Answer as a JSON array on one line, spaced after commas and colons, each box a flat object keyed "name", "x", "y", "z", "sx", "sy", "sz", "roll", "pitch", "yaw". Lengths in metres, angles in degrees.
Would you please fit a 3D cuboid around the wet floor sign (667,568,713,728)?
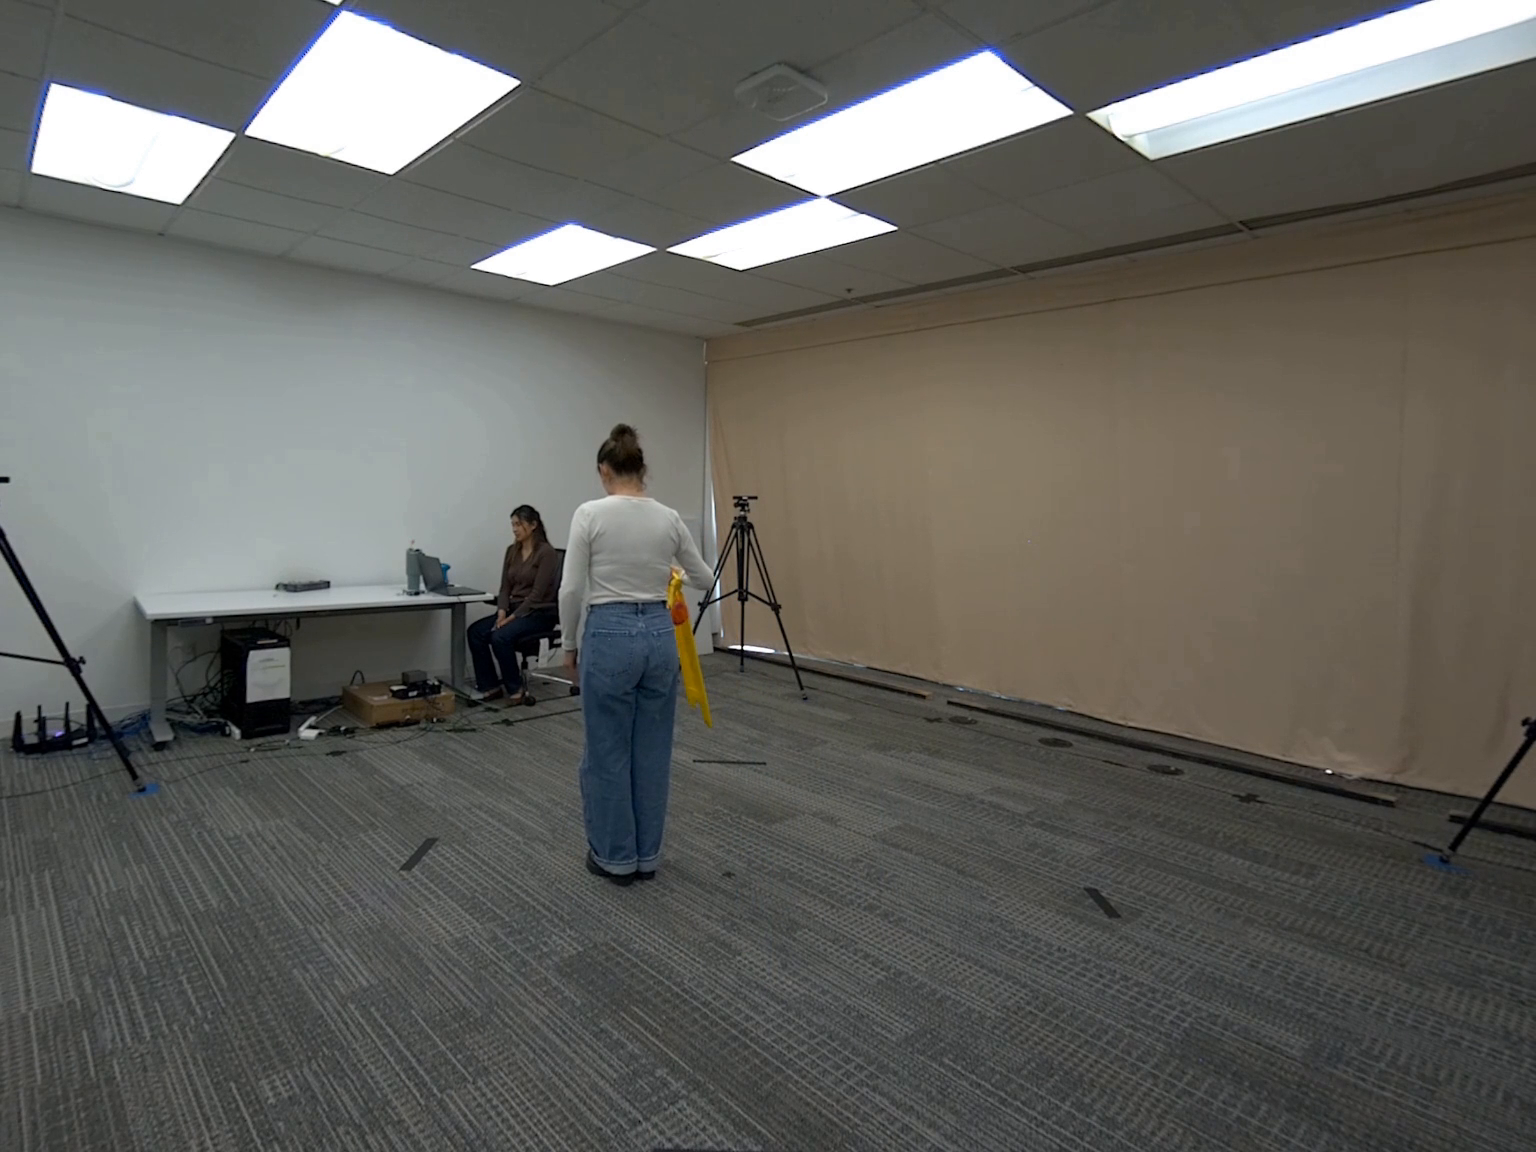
[{"name": "wet floor sign", "x": -0.402, "y": 0.296, "z": 3.468, "sx": 0.285, "sy": 0.639, "sz": 0.289, "roll": -3, "pitch": 15, "yaw": -22}]
